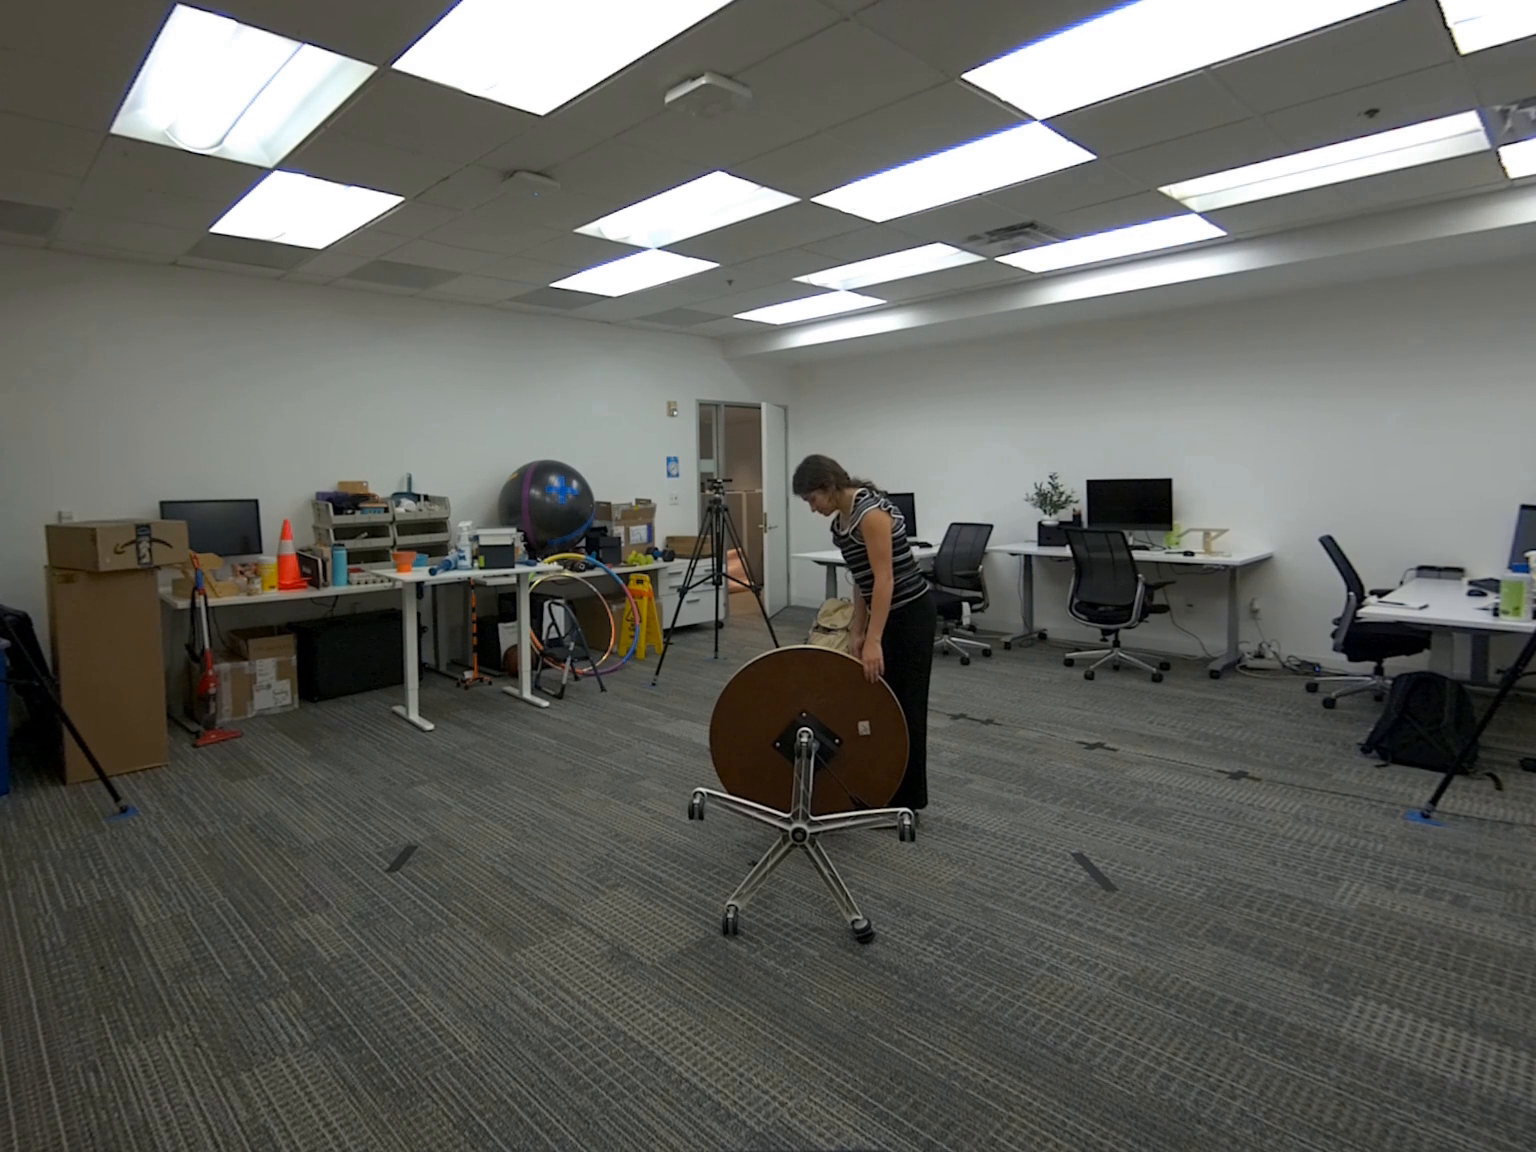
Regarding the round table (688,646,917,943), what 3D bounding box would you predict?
[{"bbox_3d":[0.127,0.726,2.913,0.791,0.777,0.789,0,11,7],"label":"round table"}]
